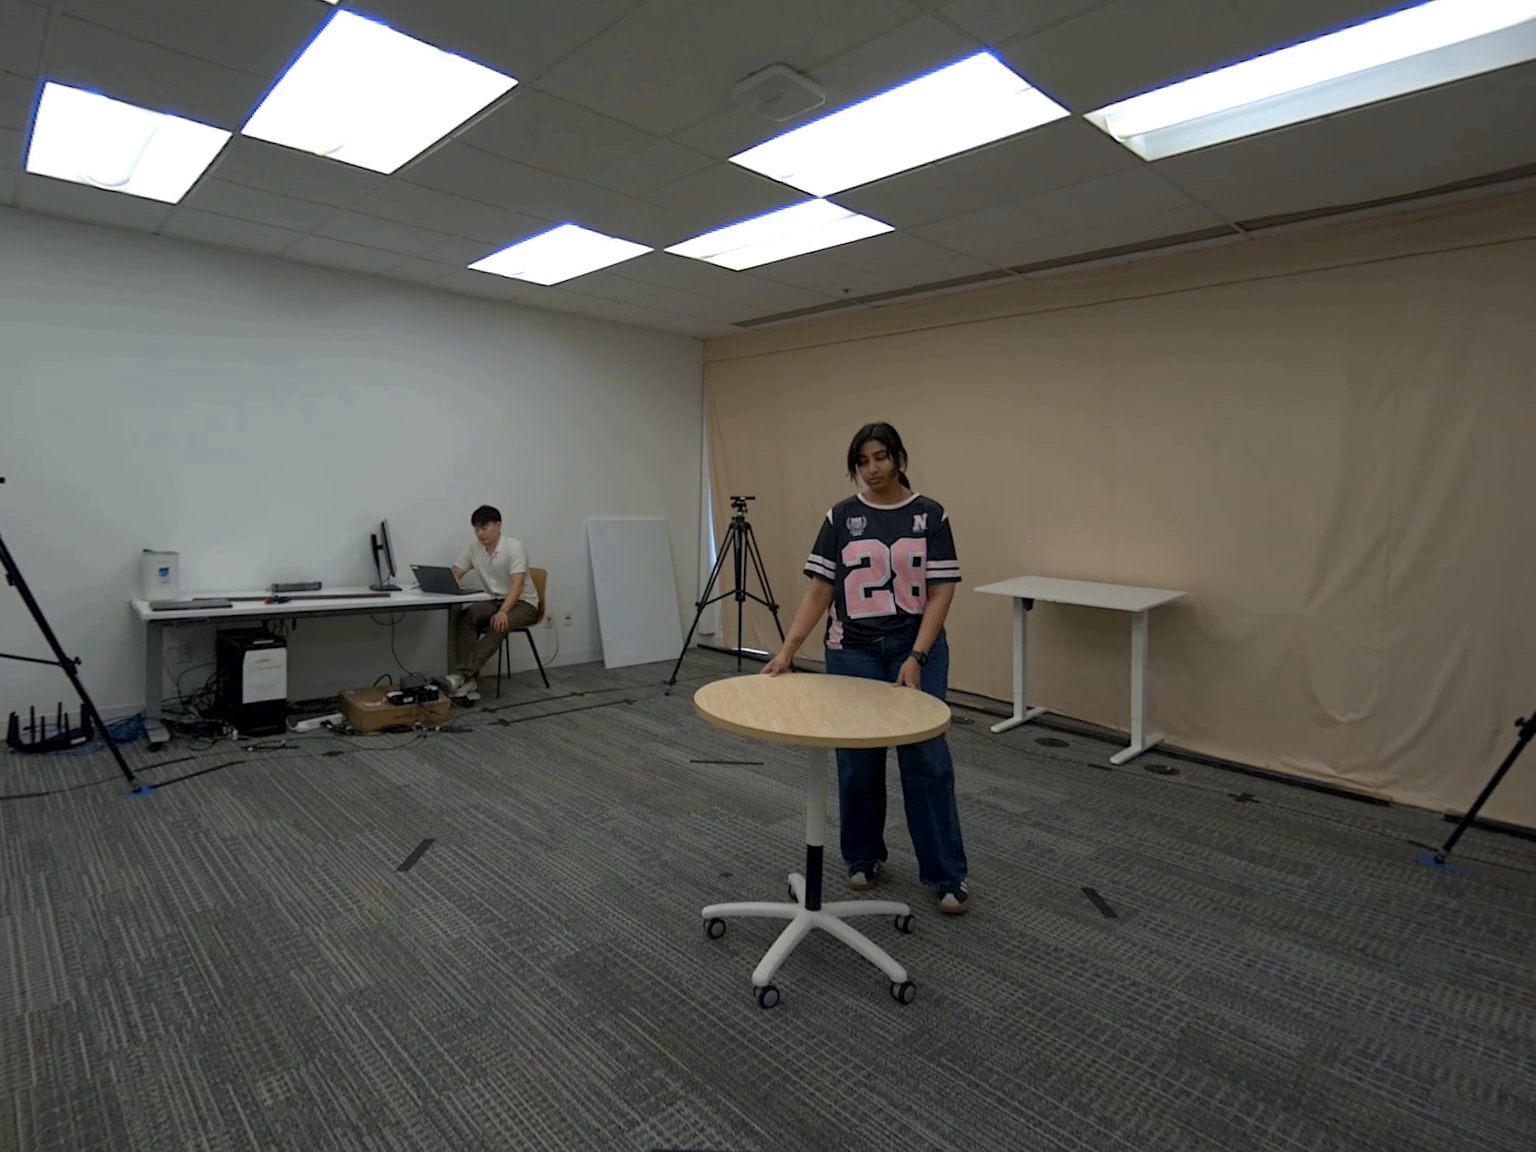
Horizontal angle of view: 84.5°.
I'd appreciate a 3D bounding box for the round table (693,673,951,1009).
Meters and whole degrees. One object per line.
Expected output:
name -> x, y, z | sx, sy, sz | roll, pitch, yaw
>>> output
round table -> 0.135, 0.773, 2.566 | 0.763, 0.792, 0.767 | 2, 4, -2
